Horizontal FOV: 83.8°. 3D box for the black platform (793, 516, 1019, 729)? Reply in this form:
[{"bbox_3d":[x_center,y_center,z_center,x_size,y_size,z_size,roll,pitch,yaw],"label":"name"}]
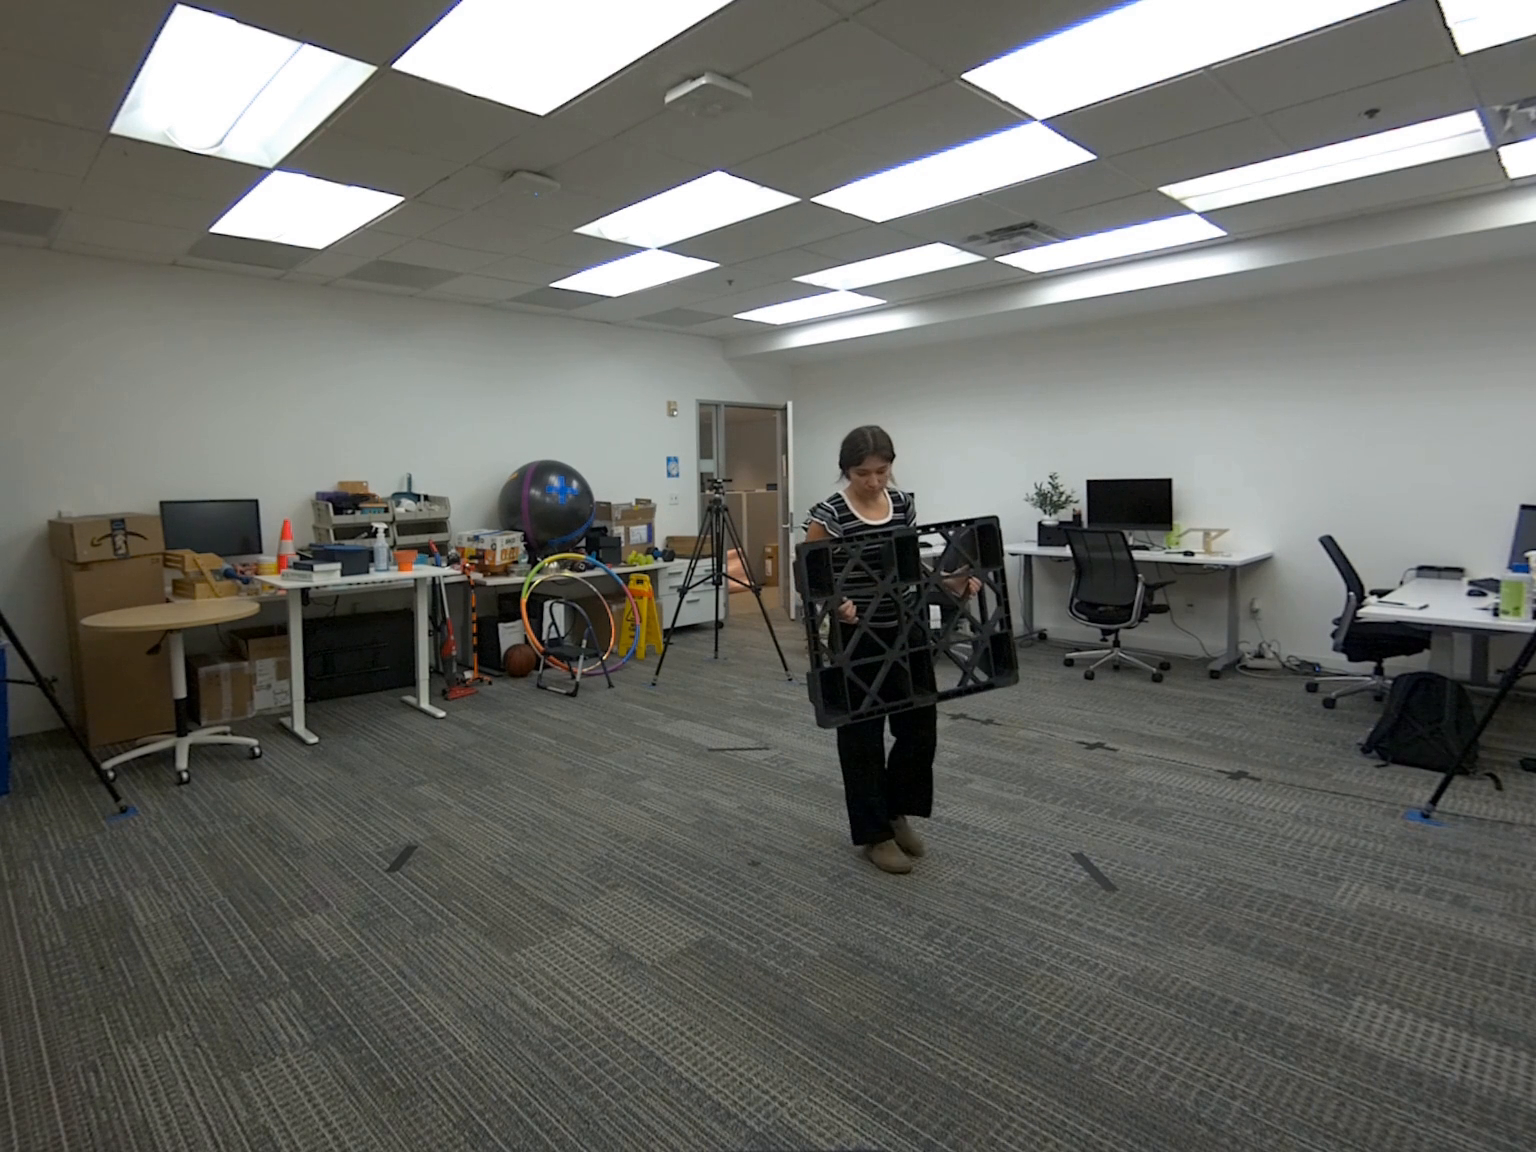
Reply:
[{"bbox_3d":[0.461,0.135,2.904,0.792,0.605,0.146,-9,1,-22],"label":"black platform"}]
